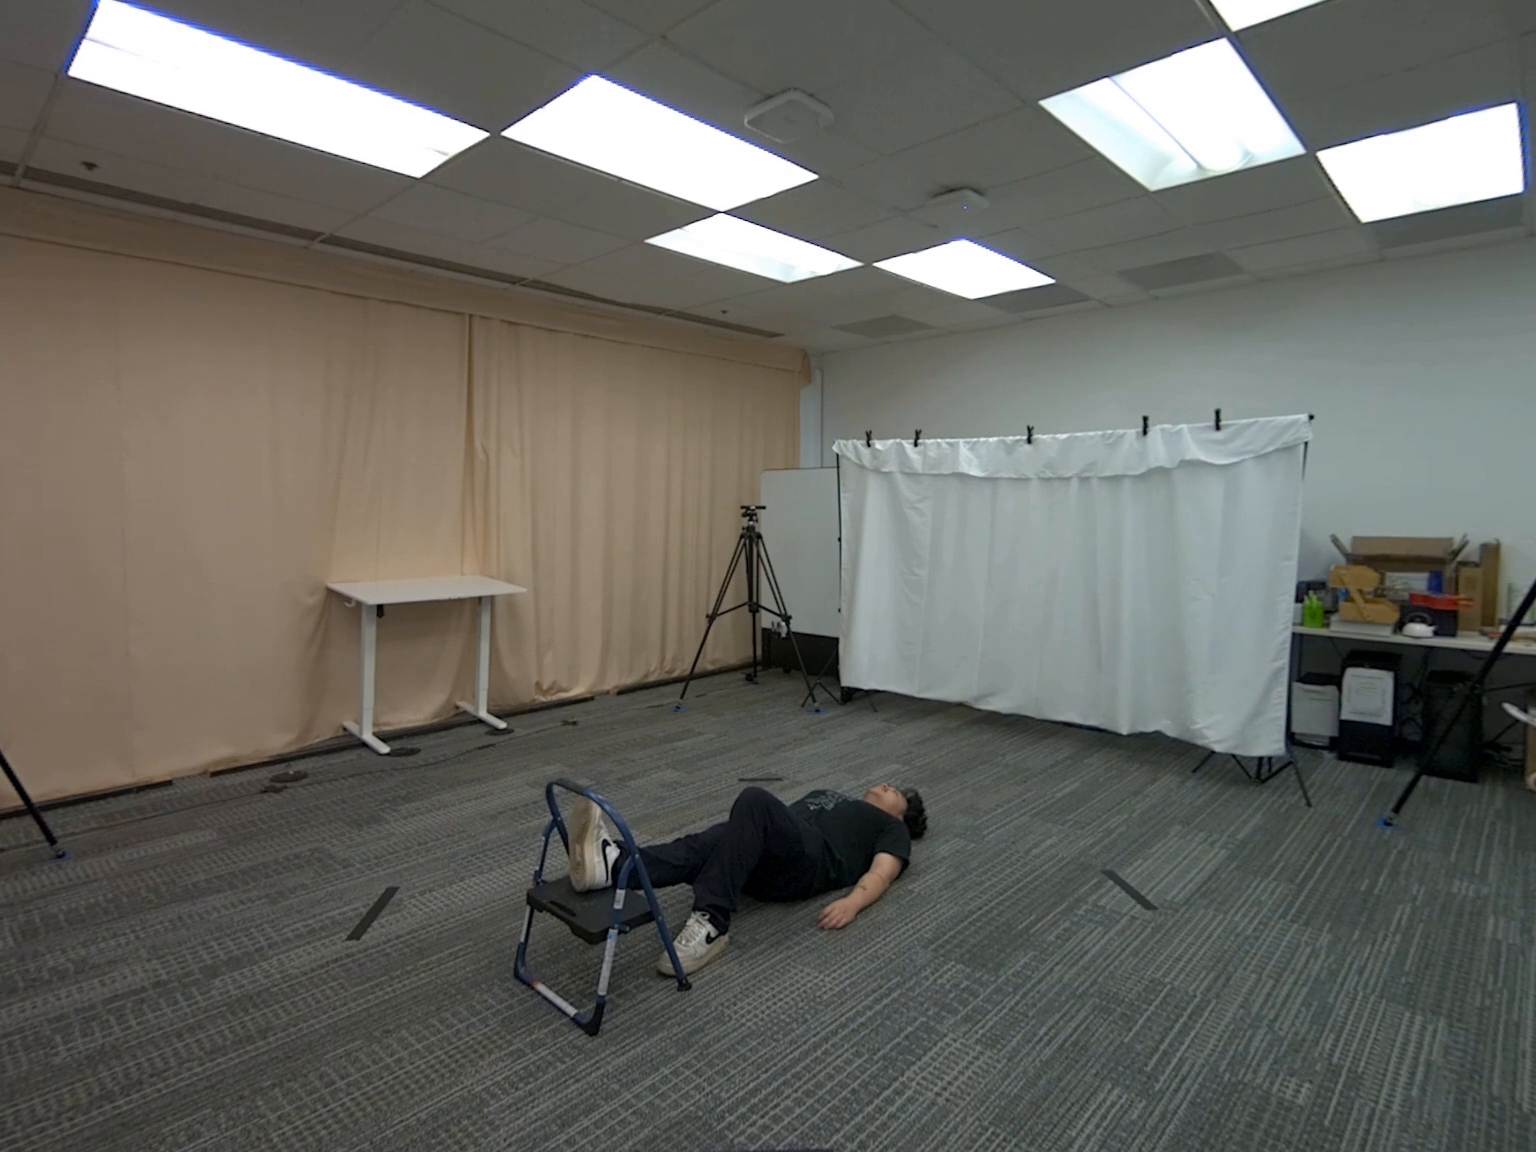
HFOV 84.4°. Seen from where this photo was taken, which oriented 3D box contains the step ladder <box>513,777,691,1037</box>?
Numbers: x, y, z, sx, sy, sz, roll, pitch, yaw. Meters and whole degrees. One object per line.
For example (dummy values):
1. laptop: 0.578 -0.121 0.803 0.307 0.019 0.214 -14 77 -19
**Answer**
1. step ladder: -0.497 0.894 2.451 0.445 0.605 0.338 2 3 44
